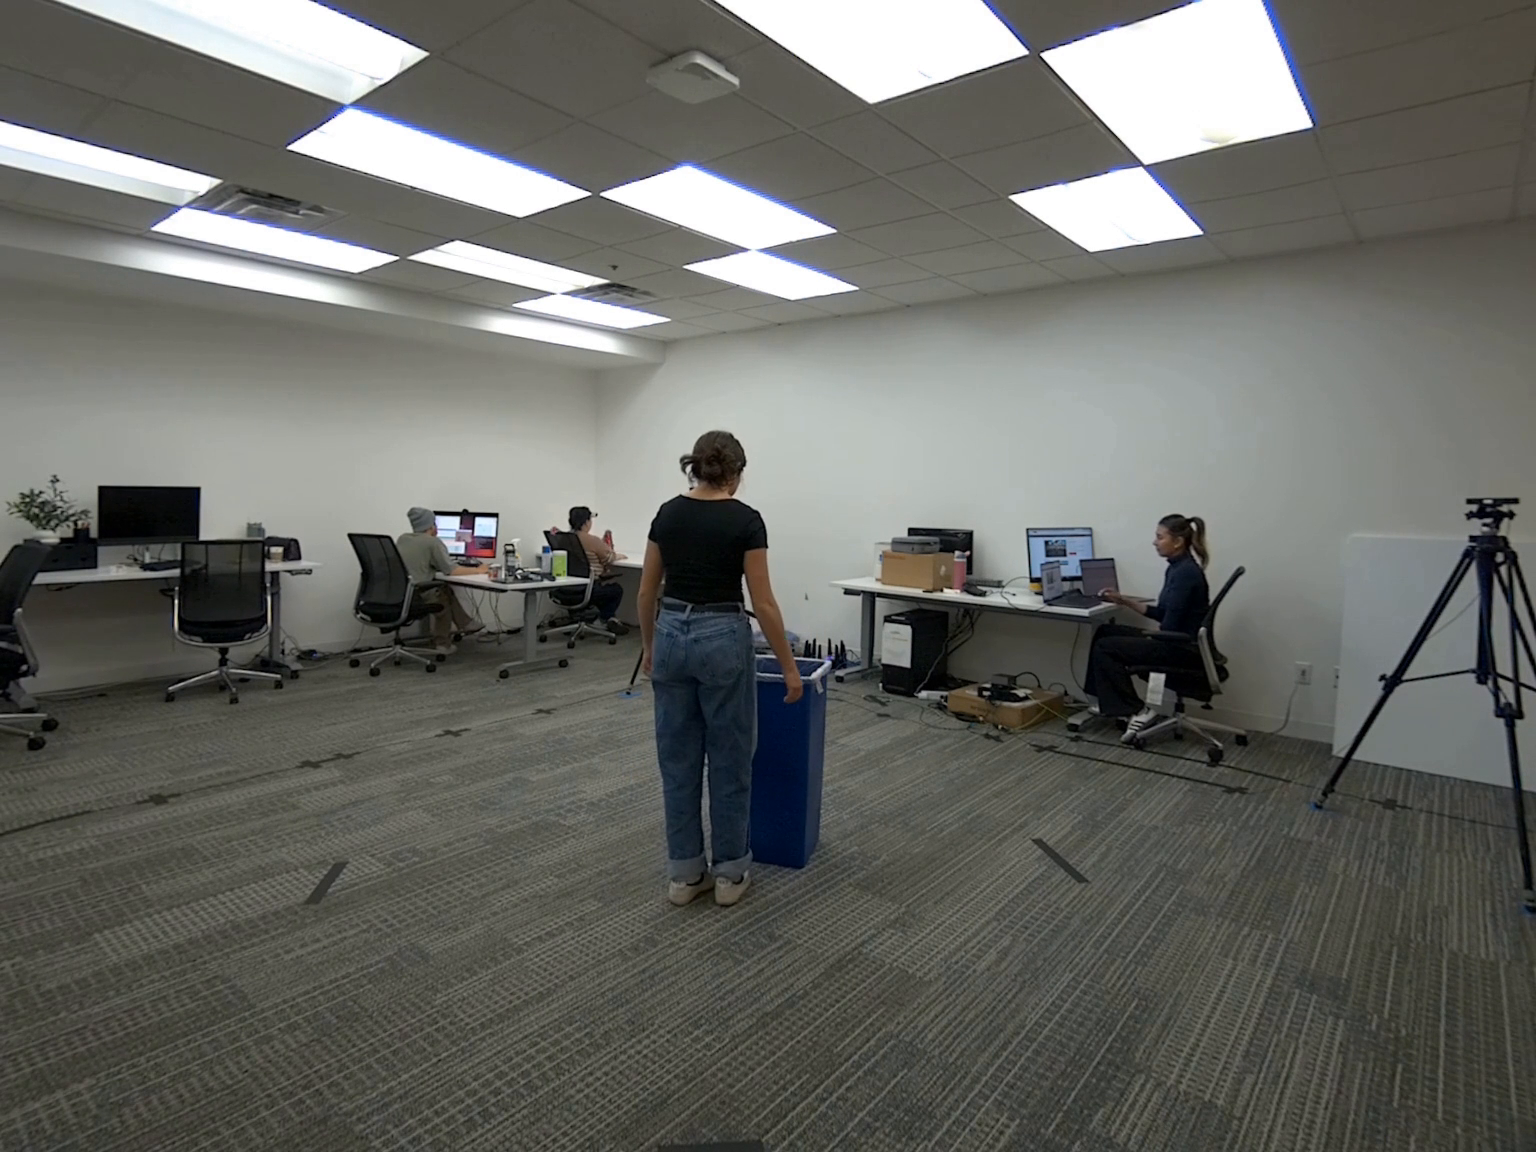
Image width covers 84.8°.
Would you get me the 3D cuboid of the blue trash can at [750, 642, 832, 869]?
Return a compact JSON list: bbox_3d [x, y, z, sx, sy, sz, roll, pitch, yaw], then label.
[{"bbox_3d":[0.017,0.693,3.288,0.381,0.712,0.372,2,3,17],"label":"blue trash can"}]
